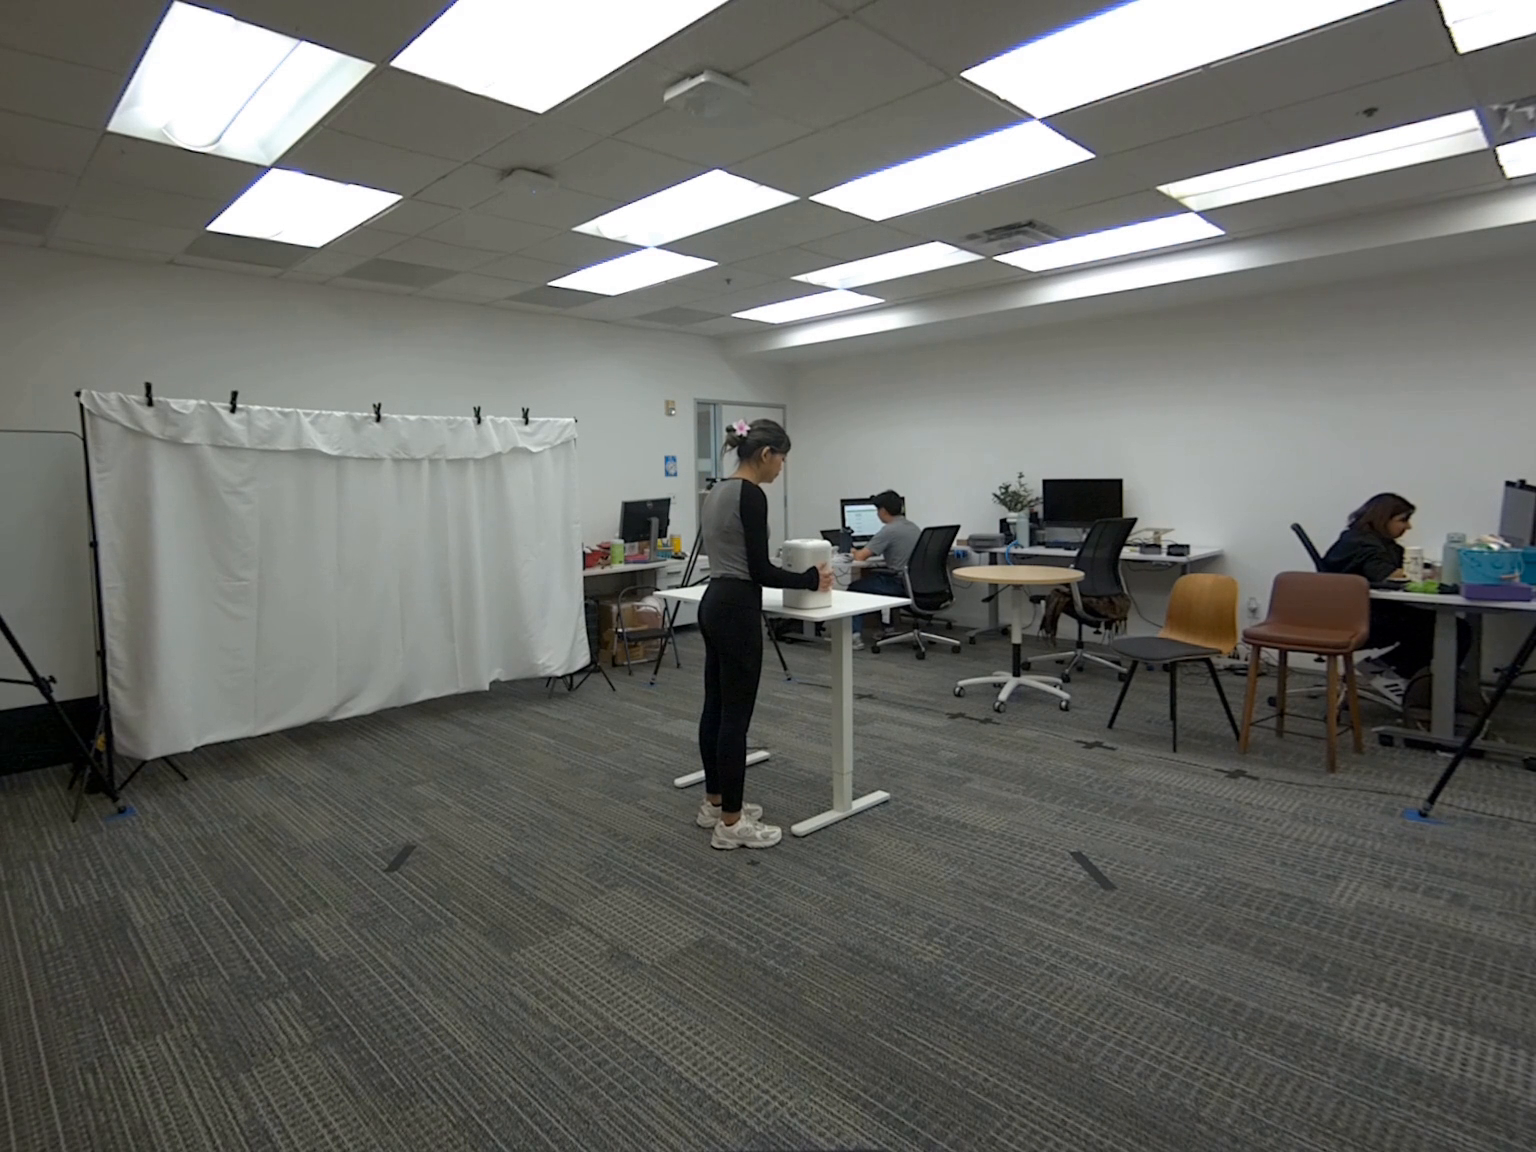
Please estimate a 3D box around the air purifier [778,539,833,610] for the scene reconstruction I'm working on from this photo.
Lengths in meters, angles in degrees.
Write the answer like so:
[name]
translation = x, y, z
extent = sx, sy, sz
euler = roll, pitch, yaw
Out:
[air purifier]
translation = 0.155, -0.011, 3.432
extent = 0.167, 0.264, 0.176
euler = -5, 9, -32
